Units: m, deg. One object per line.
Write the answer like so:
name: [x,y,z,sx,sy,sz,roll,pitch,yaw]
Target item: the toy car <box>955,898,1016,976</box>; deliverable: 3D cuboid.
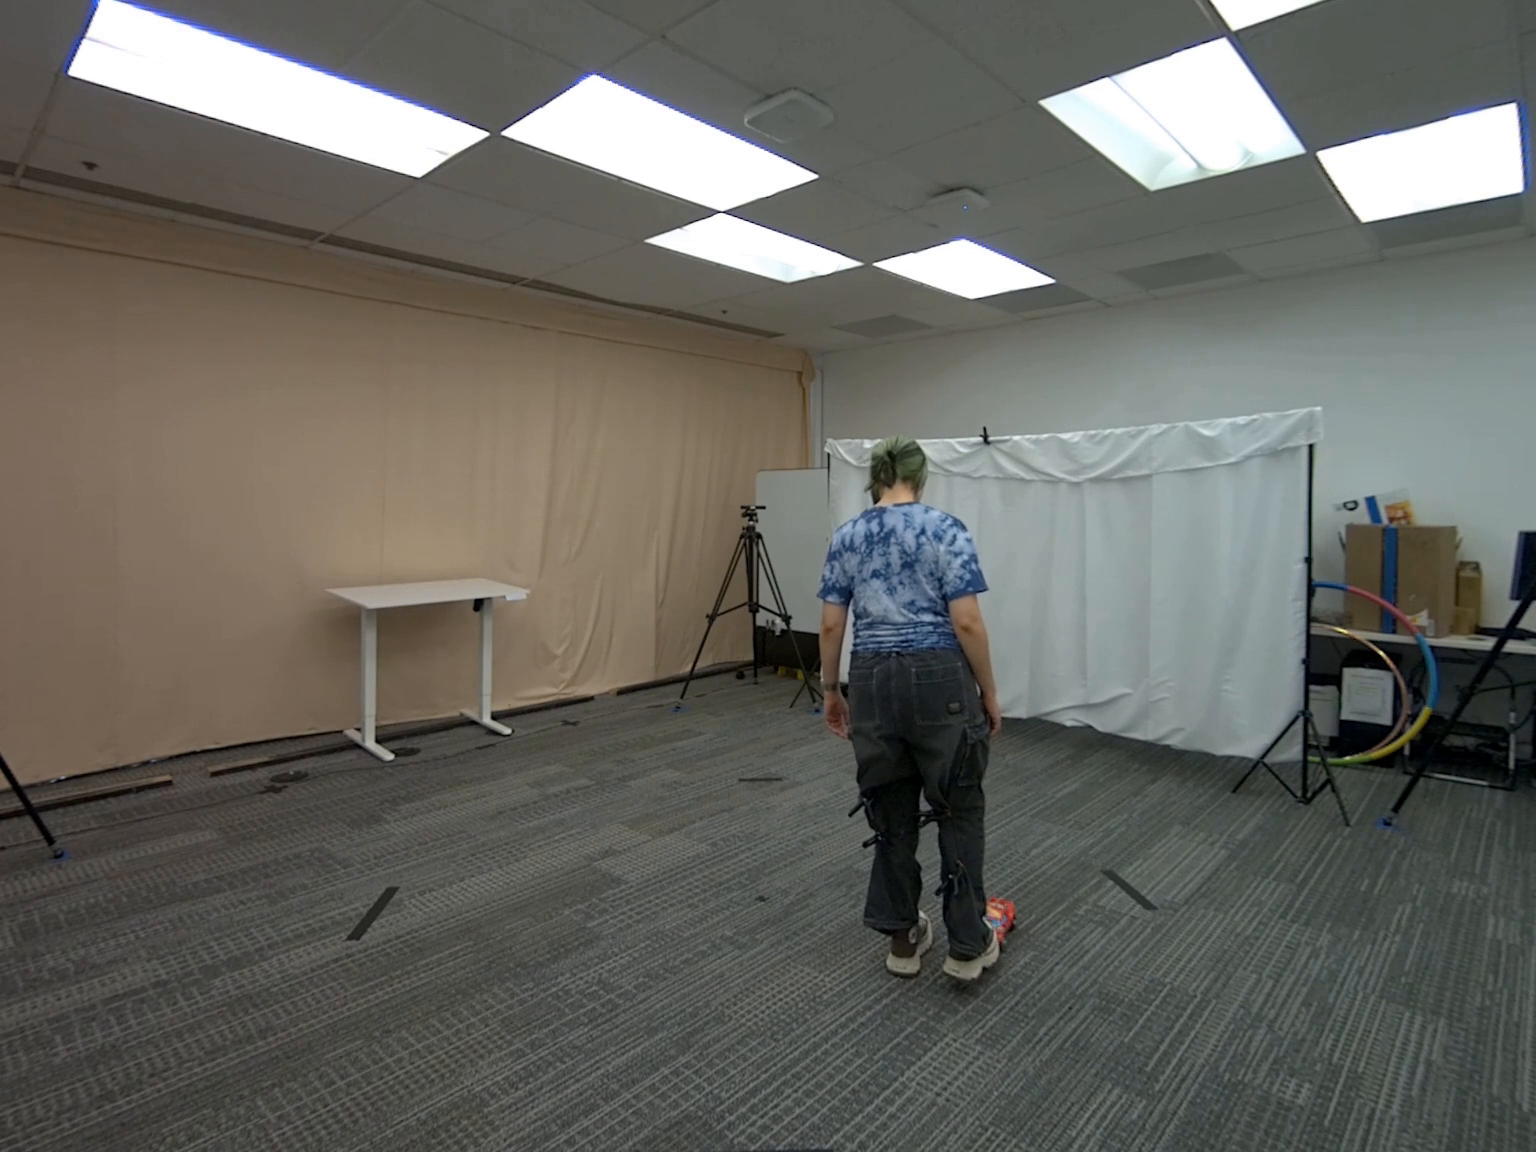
toy car: [0.740,1.130,2.744,0.134,0.082,0.249,3,17,31]
